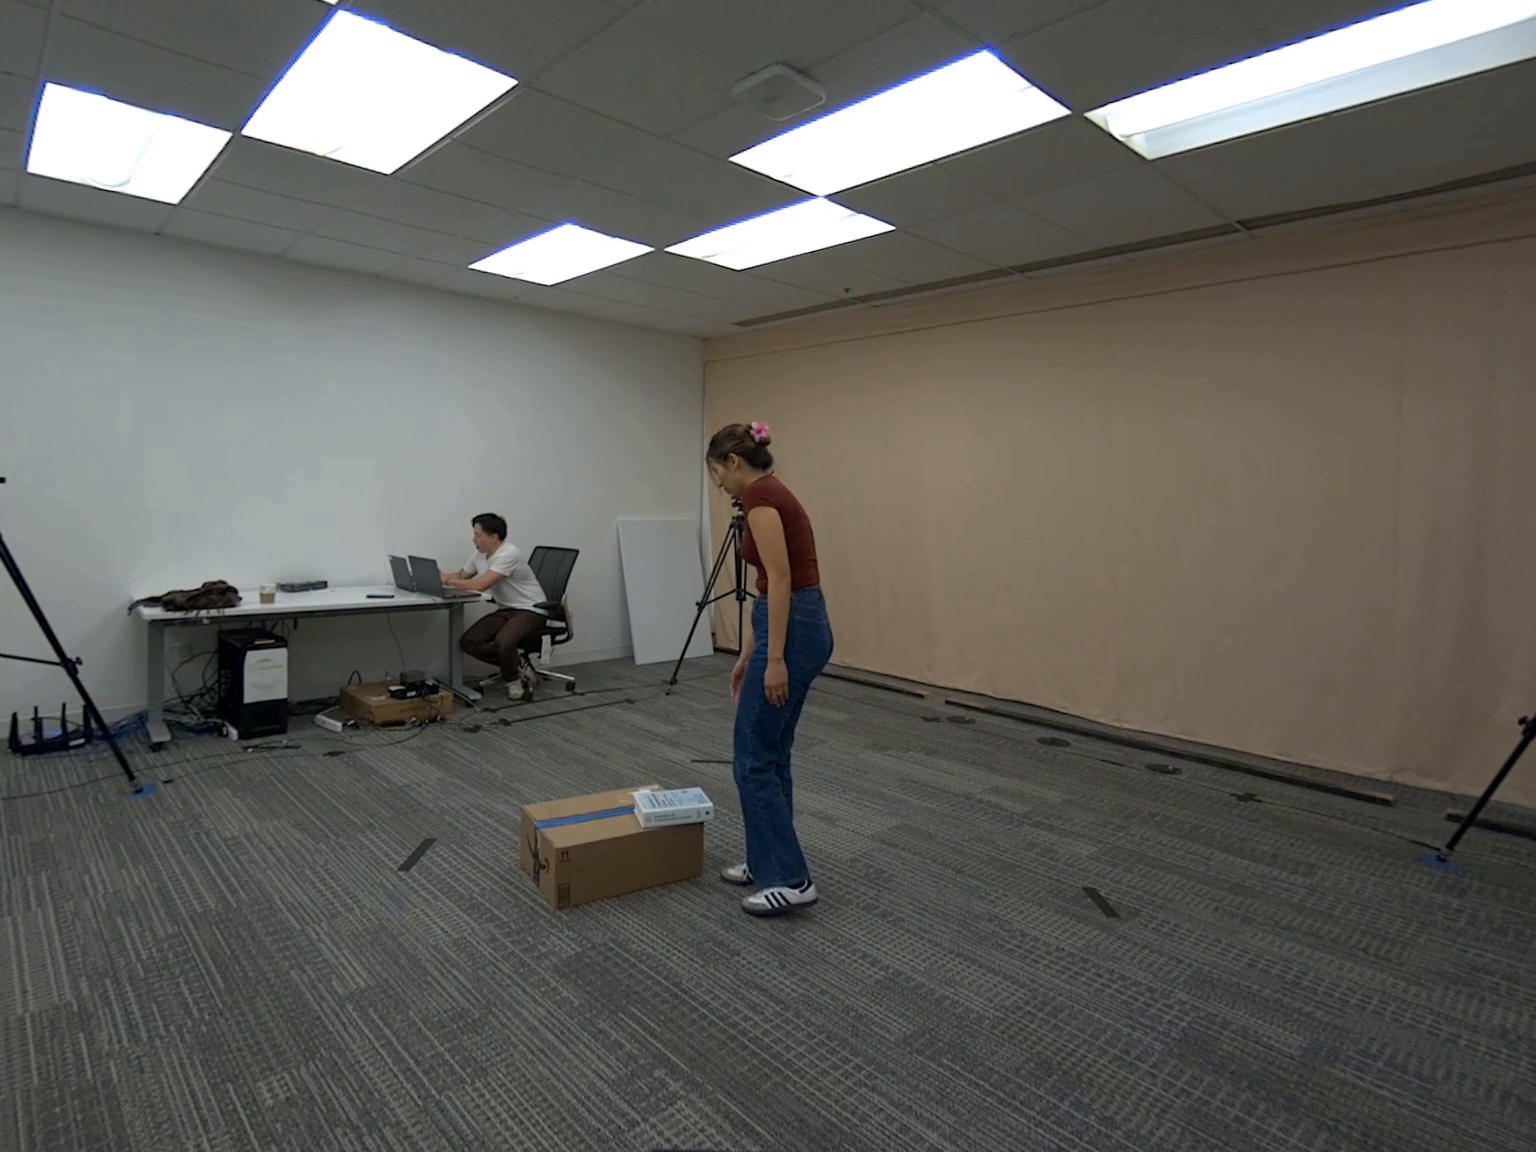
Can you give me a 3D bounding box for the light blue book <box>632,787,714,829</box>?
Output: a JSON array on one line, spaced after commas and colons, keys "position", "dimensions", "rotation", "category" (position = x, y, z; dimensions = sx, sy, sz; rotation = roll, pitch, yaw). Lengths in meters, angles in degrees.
[{"position": [-0.355, 0.841, 3.098], "dimensions": [0.257, 0.059, 0.195], "rotation": [-2, 6, -20], "category": "light blue book"}]
